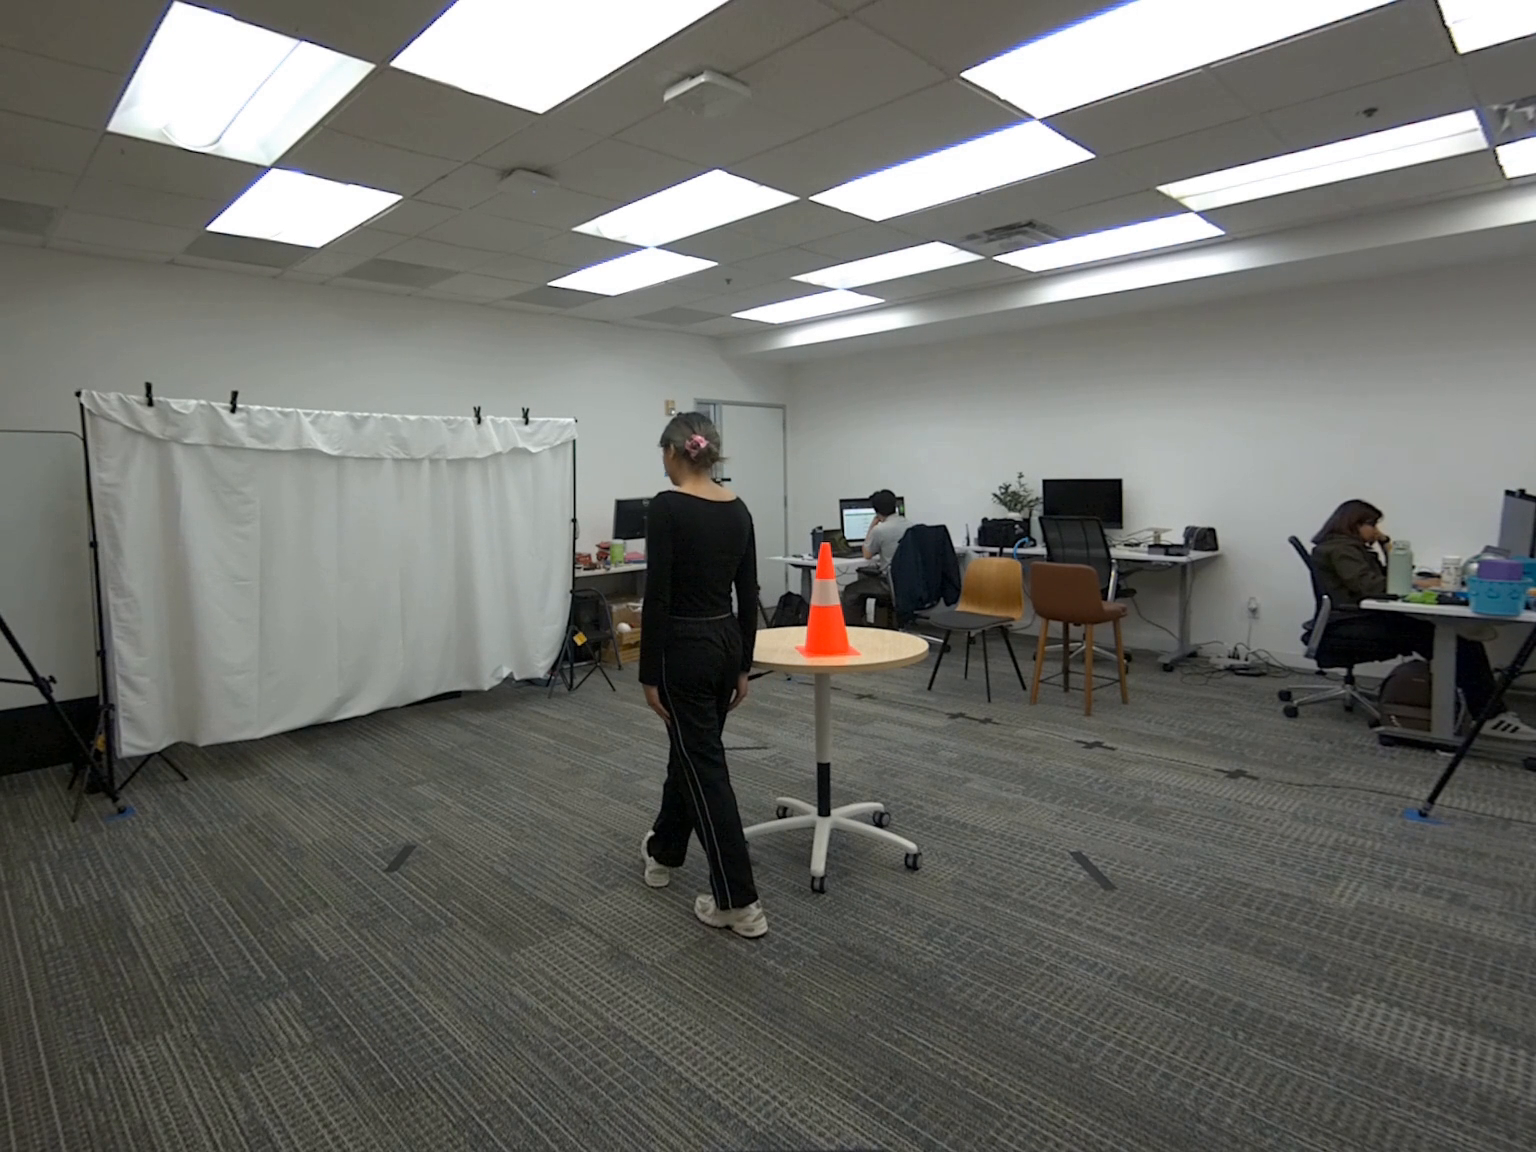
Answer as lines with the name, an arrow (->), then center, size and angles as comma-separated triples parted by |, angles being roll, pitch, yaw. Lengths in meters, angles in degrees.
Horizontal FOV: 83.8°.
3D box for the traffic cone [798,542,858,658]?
traffic cone -> 0.211, 0.078, 2.992 | 0.203, 0.382, 0.206 | -2, 5, -11
